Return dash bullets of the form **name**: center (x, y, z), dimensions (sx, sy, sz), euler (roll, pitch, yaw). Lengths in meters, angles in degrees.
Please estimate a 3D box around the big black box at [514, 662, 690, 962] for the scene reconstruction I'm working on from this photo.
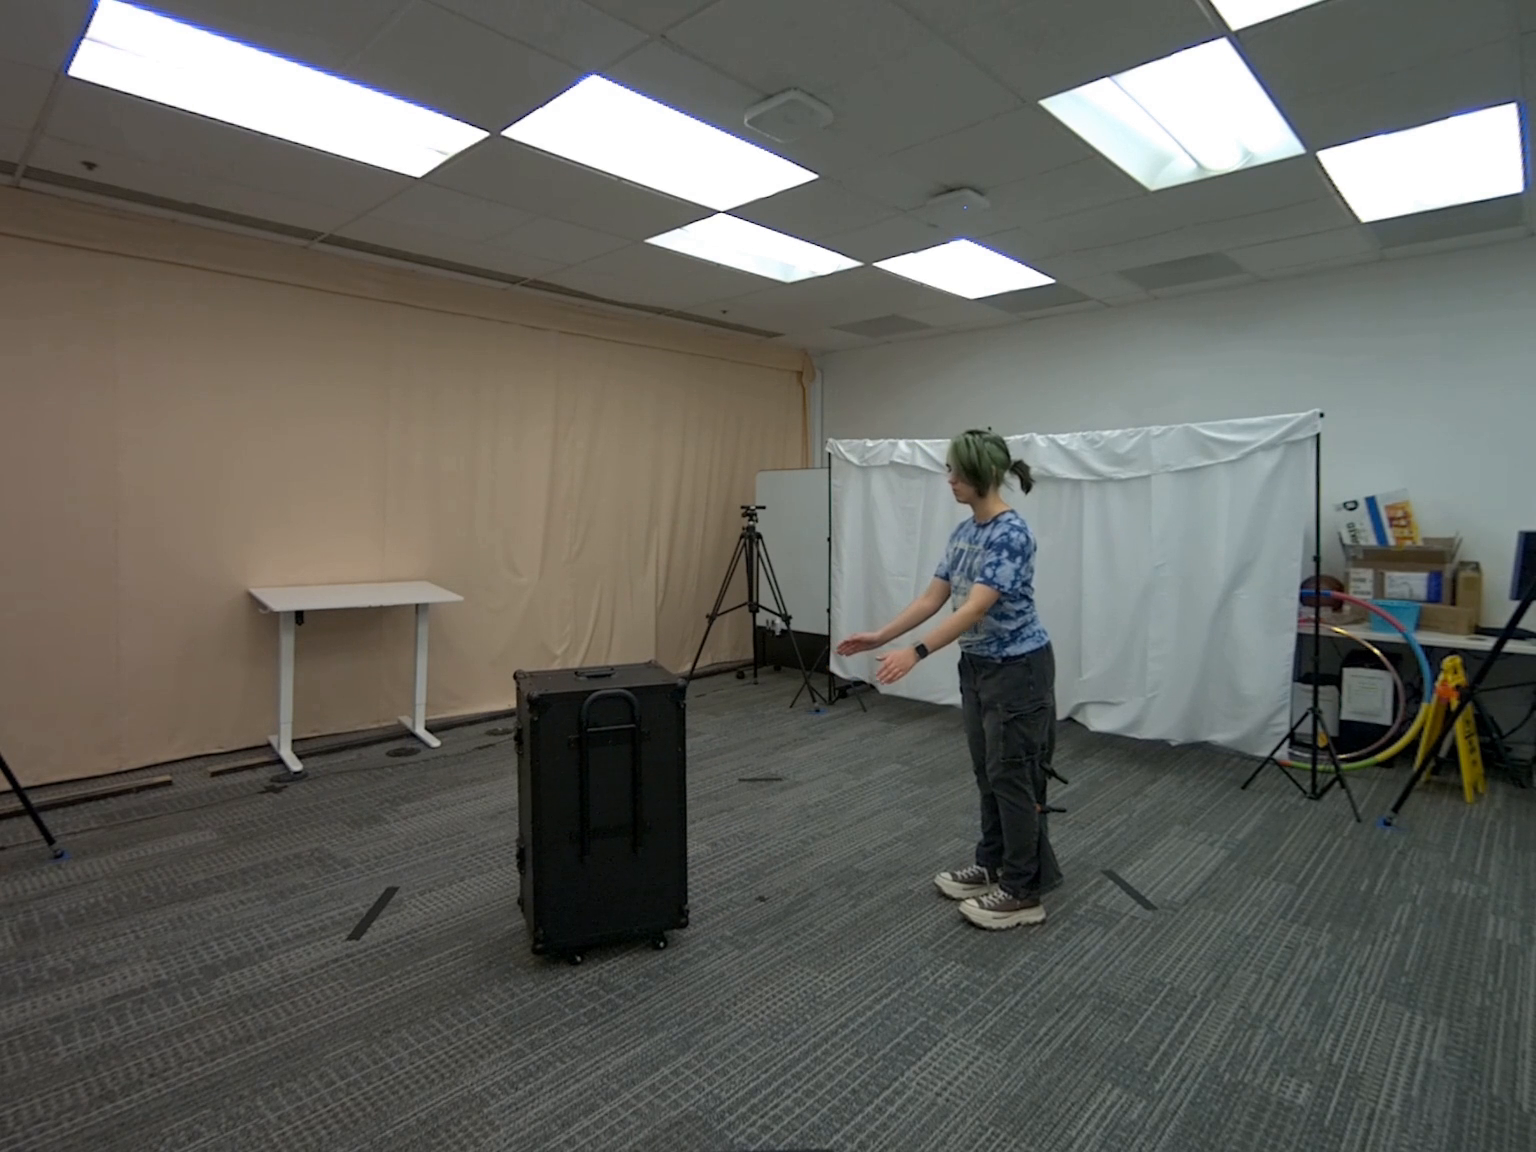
- **big black box**: center (-0.527, 0.750, 2.701), dimensions (0.511, 0.859, 0.405), euler (-2, 4, -21)
